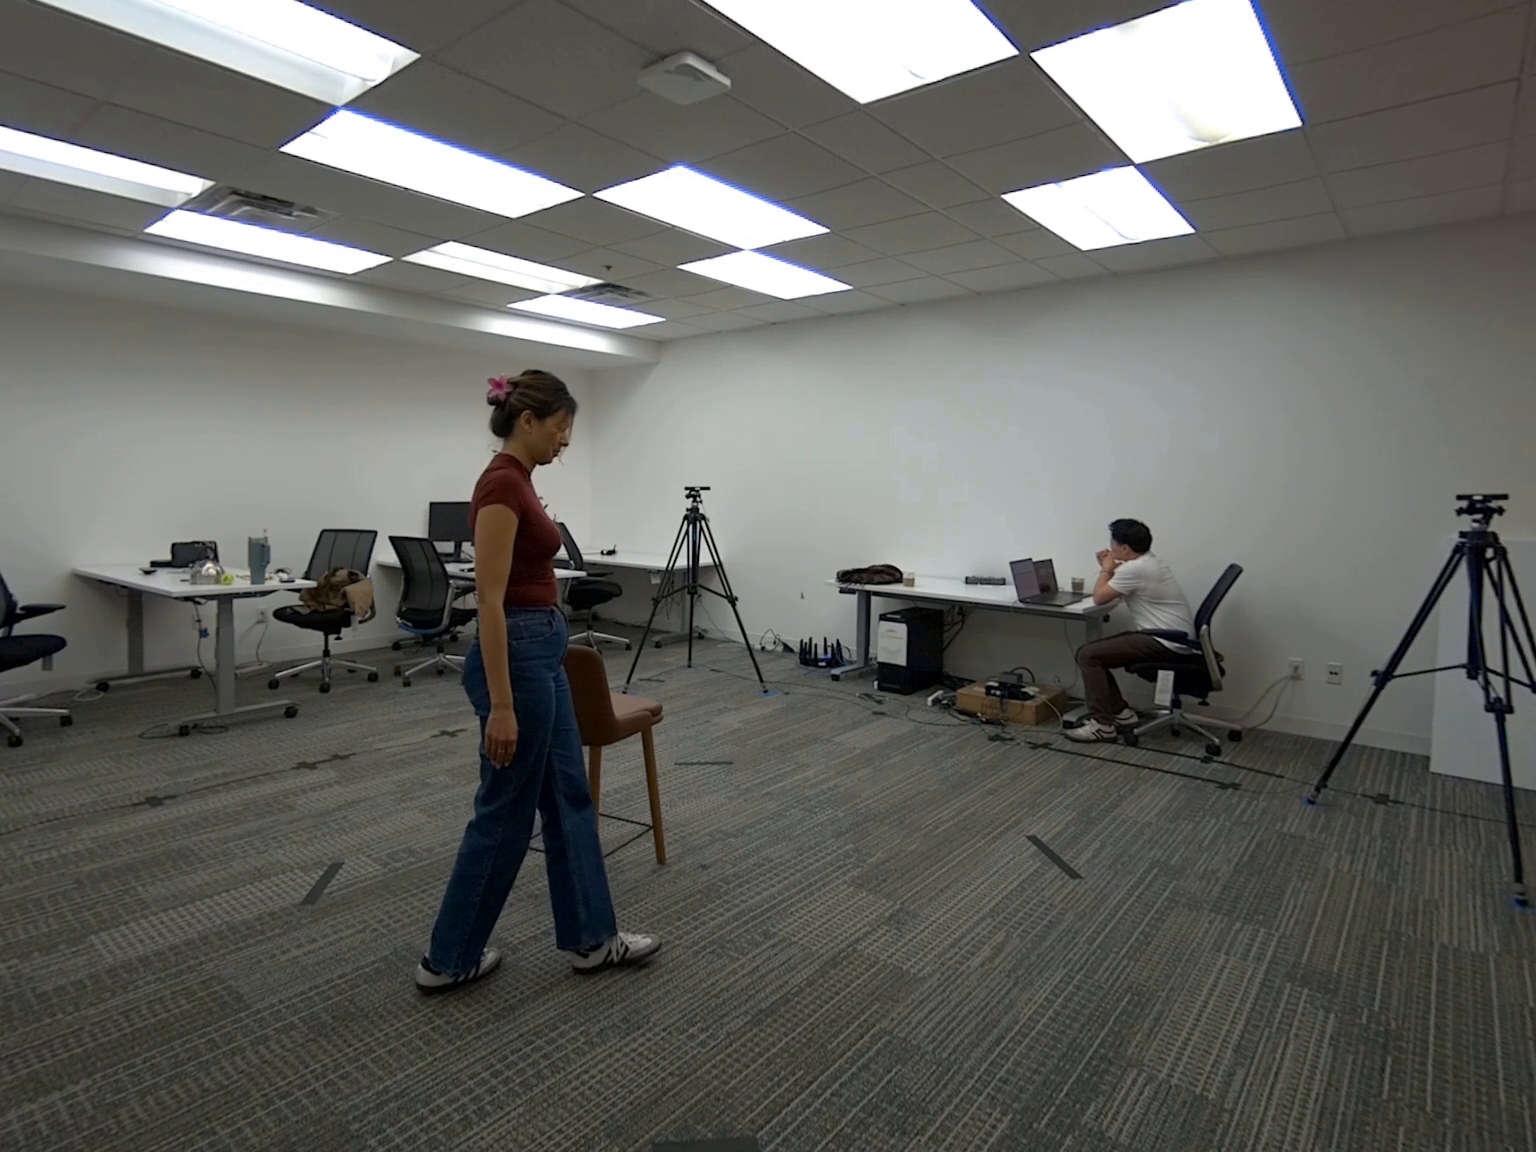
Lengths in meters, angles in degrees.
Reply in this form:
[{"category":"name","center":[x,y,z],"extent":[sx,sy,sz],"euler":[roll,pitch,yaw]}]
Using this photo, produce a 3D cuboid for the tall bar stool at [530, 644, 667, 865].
[{"category":"tall bar stool","center":[-0.661,0.630,3.016],"extent":[0.469,0.886,0.457],"euler":[2,5,27]}]
